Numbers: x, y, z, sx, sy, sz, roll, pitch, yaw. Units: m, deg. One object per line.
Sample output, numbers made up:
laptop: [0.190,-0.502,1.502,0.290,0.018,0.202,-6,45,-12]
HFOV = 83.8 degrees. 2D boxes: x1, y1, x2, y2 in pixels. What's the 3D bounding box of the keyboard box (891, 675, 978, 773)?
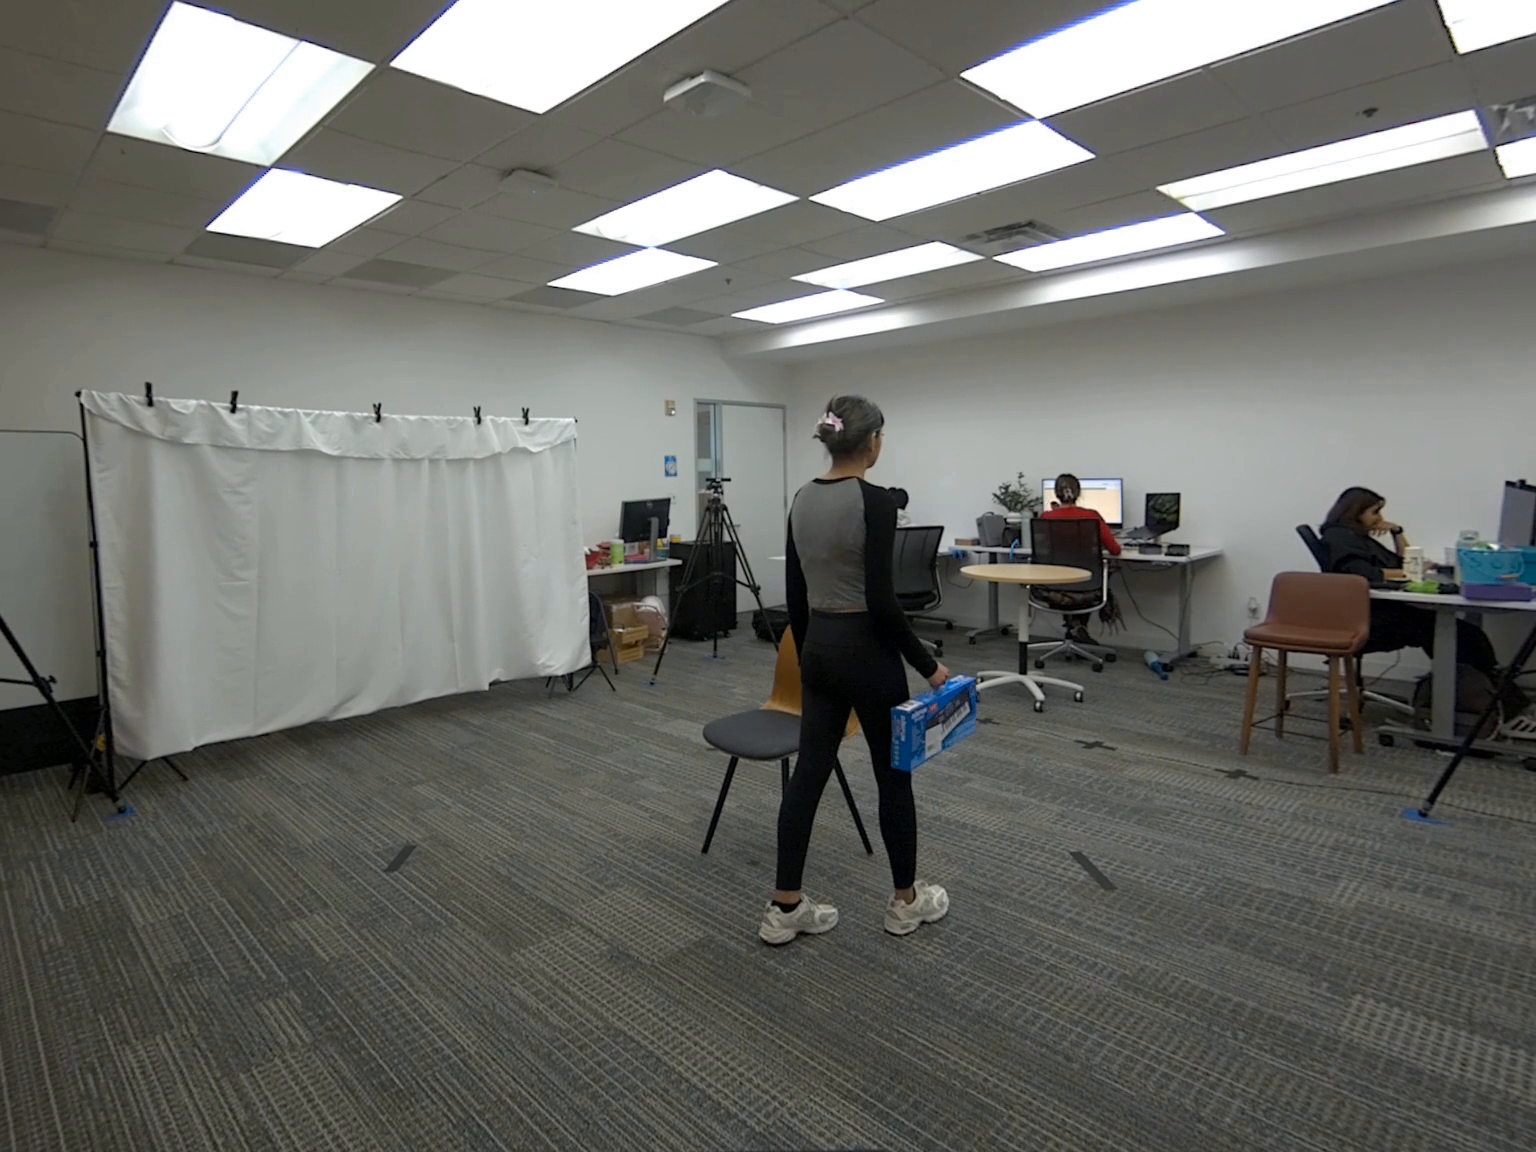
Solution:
keyboard box: [0.498,0.430,2.537,0.061,0.175,0.426,3,9,39]
